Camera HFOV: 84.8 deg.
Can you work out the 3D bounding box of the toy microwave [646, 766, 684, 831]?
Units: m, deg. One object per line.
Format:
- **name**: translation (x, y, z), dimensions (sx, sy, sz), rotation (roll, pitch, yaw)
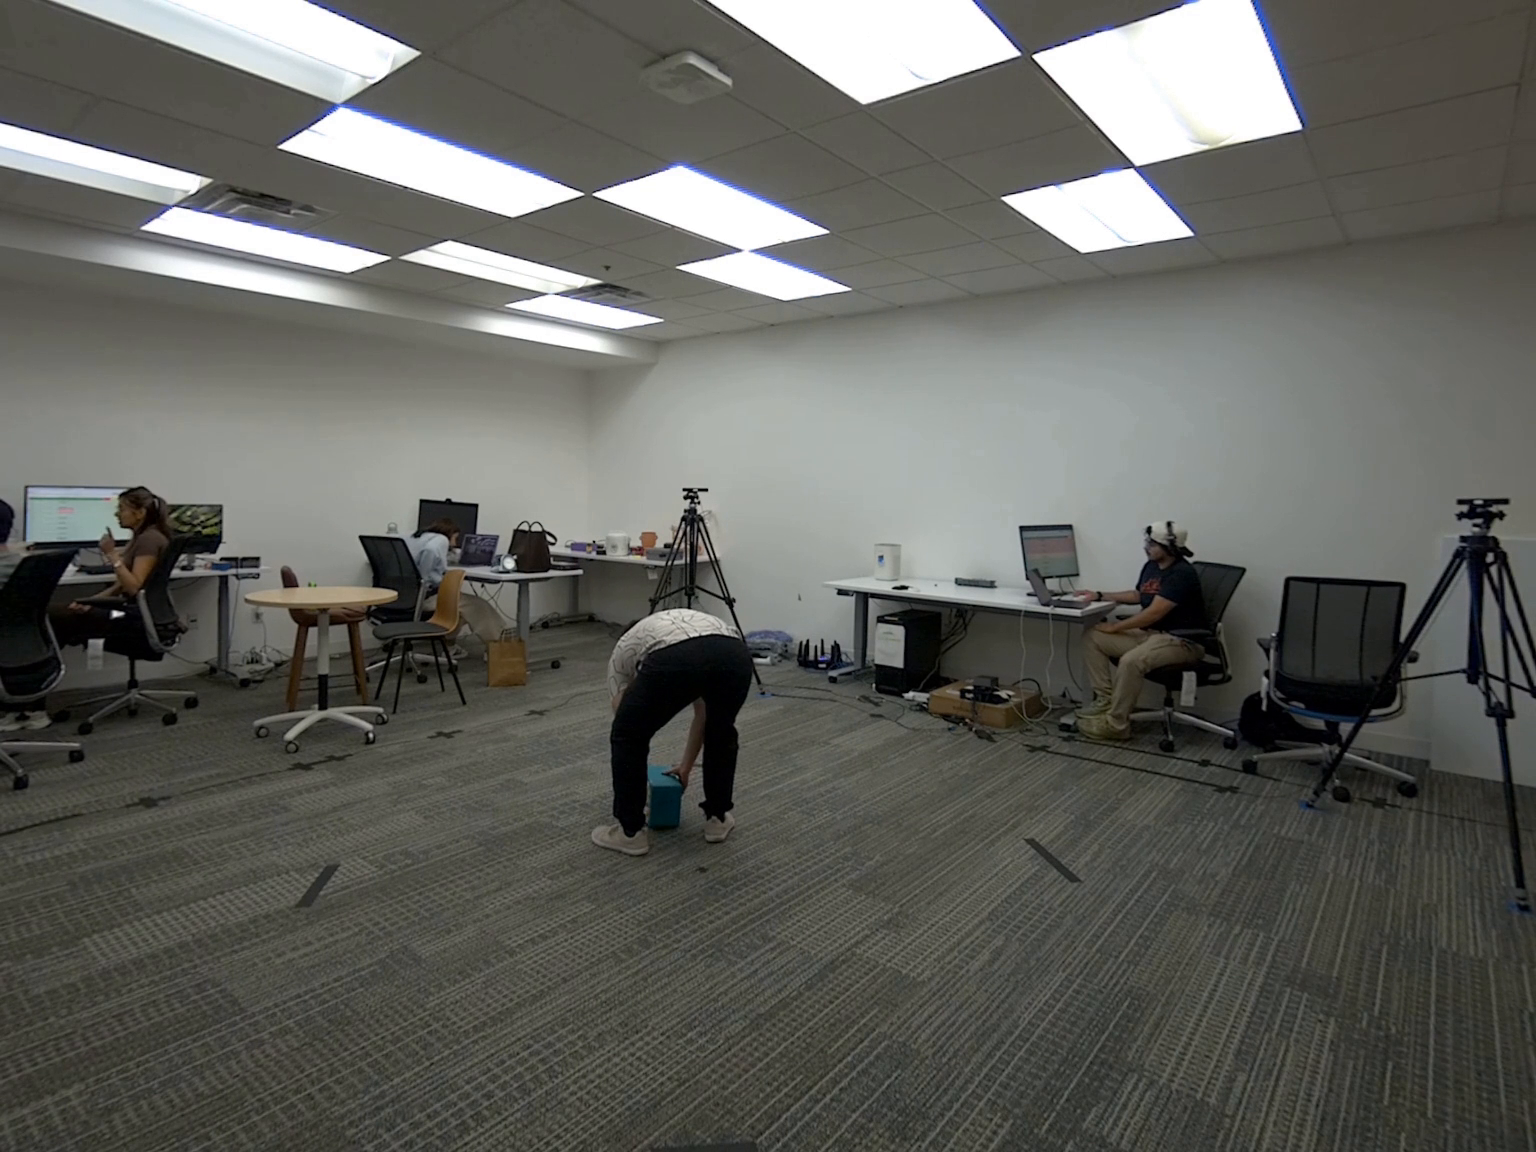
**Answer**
- **toy microwave**: translation (-0.477, 0.925, 3.586), dimensions (0.150, 0.183, 0.292), rotation (1, 6, -18)
